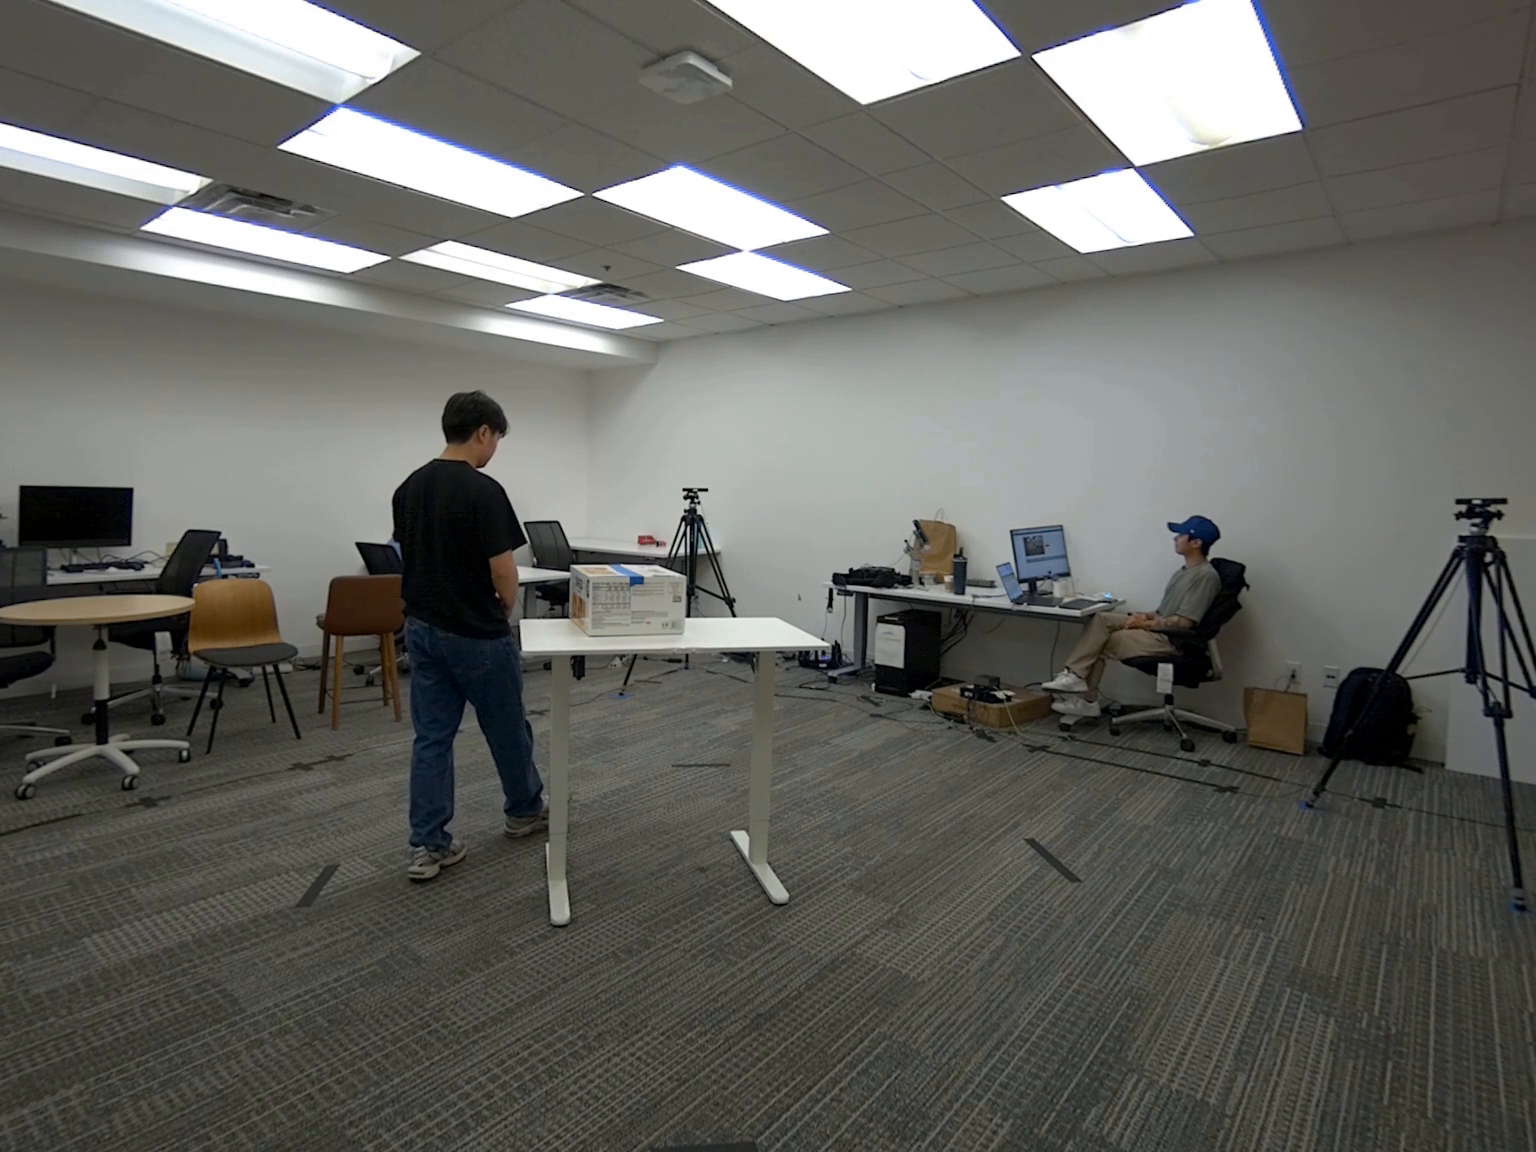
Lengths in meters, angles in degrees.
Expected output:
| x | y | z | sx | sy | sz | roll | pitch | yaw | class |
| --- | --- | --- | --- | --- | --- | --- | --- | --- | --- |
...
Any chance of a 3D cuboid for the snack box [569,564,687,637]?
| x | y | z | sx | sy | sz | roll | pitch | yaw | class |
| --- | --- | --- | --- | --- | --- | --- | --- | --- | --- |
| -0.528 | 0.080 | 3.081 | 0.333 | 0.205 | 0.415 | 0 | 6 | -21 | snack box |
